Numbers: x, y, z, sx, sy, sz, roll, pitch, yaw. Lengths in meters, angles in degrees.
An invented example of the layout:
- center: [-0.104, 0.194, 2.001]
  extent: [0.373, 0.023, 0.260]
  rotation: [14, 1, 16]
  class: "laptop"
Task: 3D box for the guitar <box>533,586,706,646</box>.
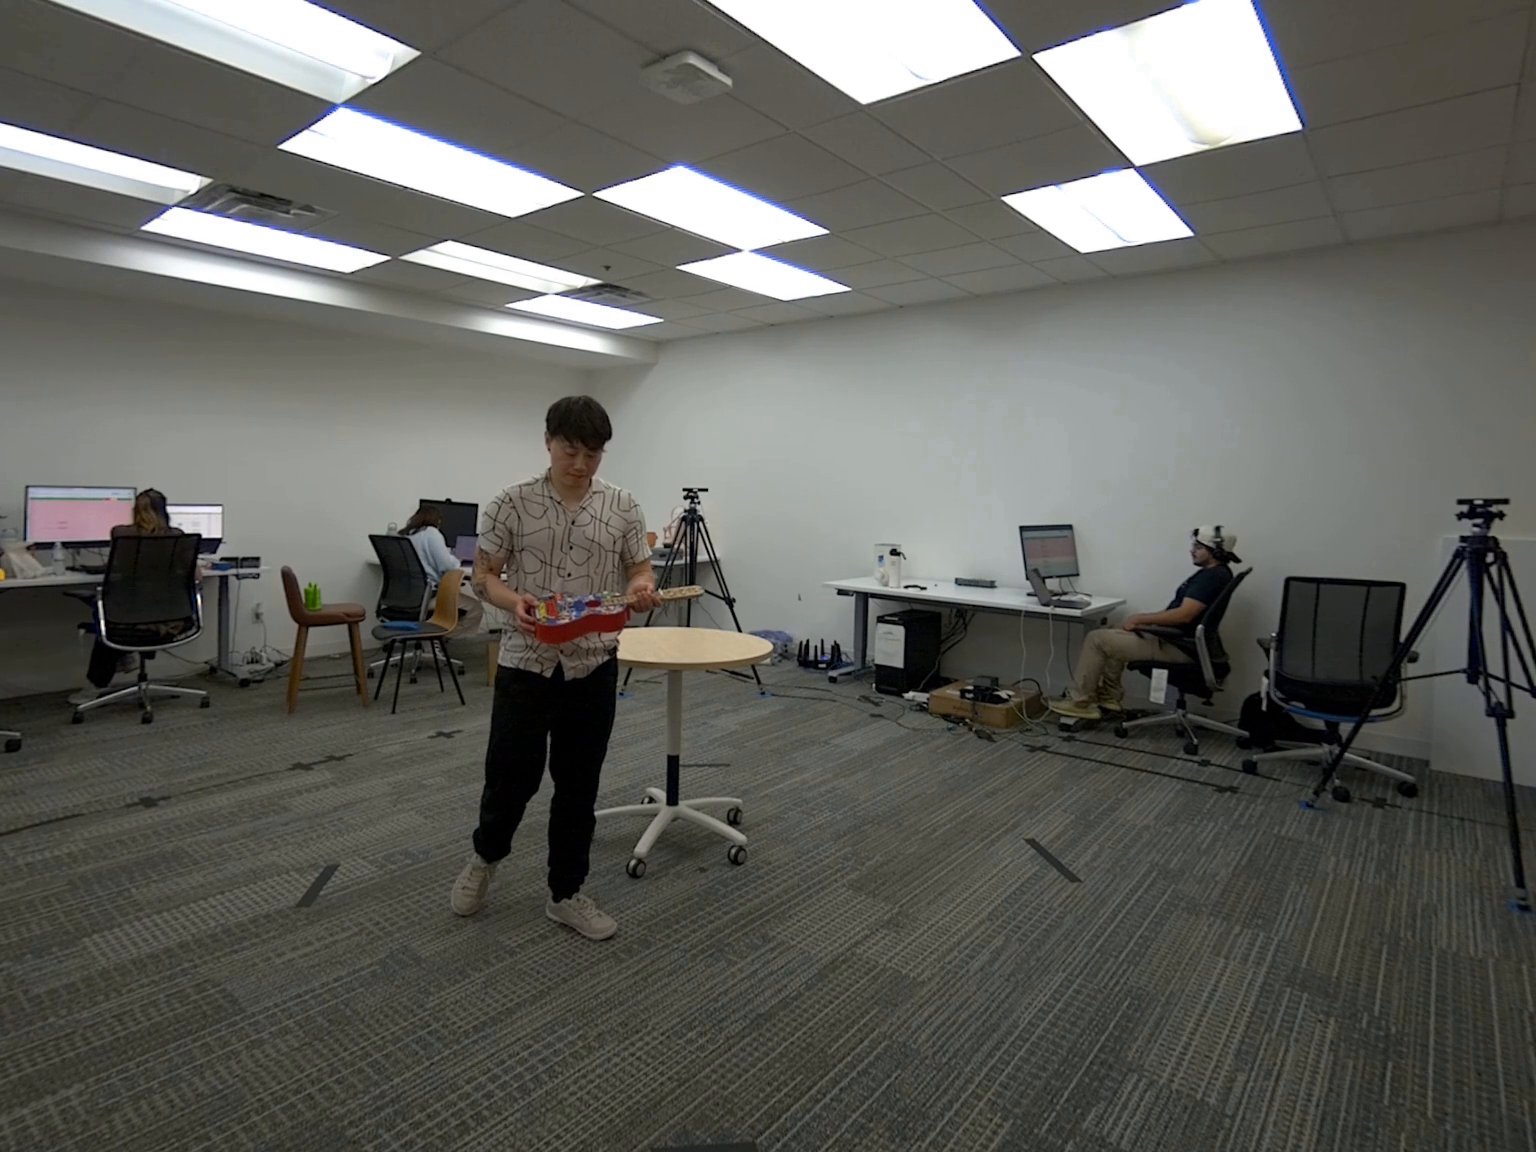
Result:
- center: [-0.409, 0.108, 2.416]
  extent: [0.494, 0.069, 0.198]
  rotation: [-7, 23, -7]
  class: "guitar"
